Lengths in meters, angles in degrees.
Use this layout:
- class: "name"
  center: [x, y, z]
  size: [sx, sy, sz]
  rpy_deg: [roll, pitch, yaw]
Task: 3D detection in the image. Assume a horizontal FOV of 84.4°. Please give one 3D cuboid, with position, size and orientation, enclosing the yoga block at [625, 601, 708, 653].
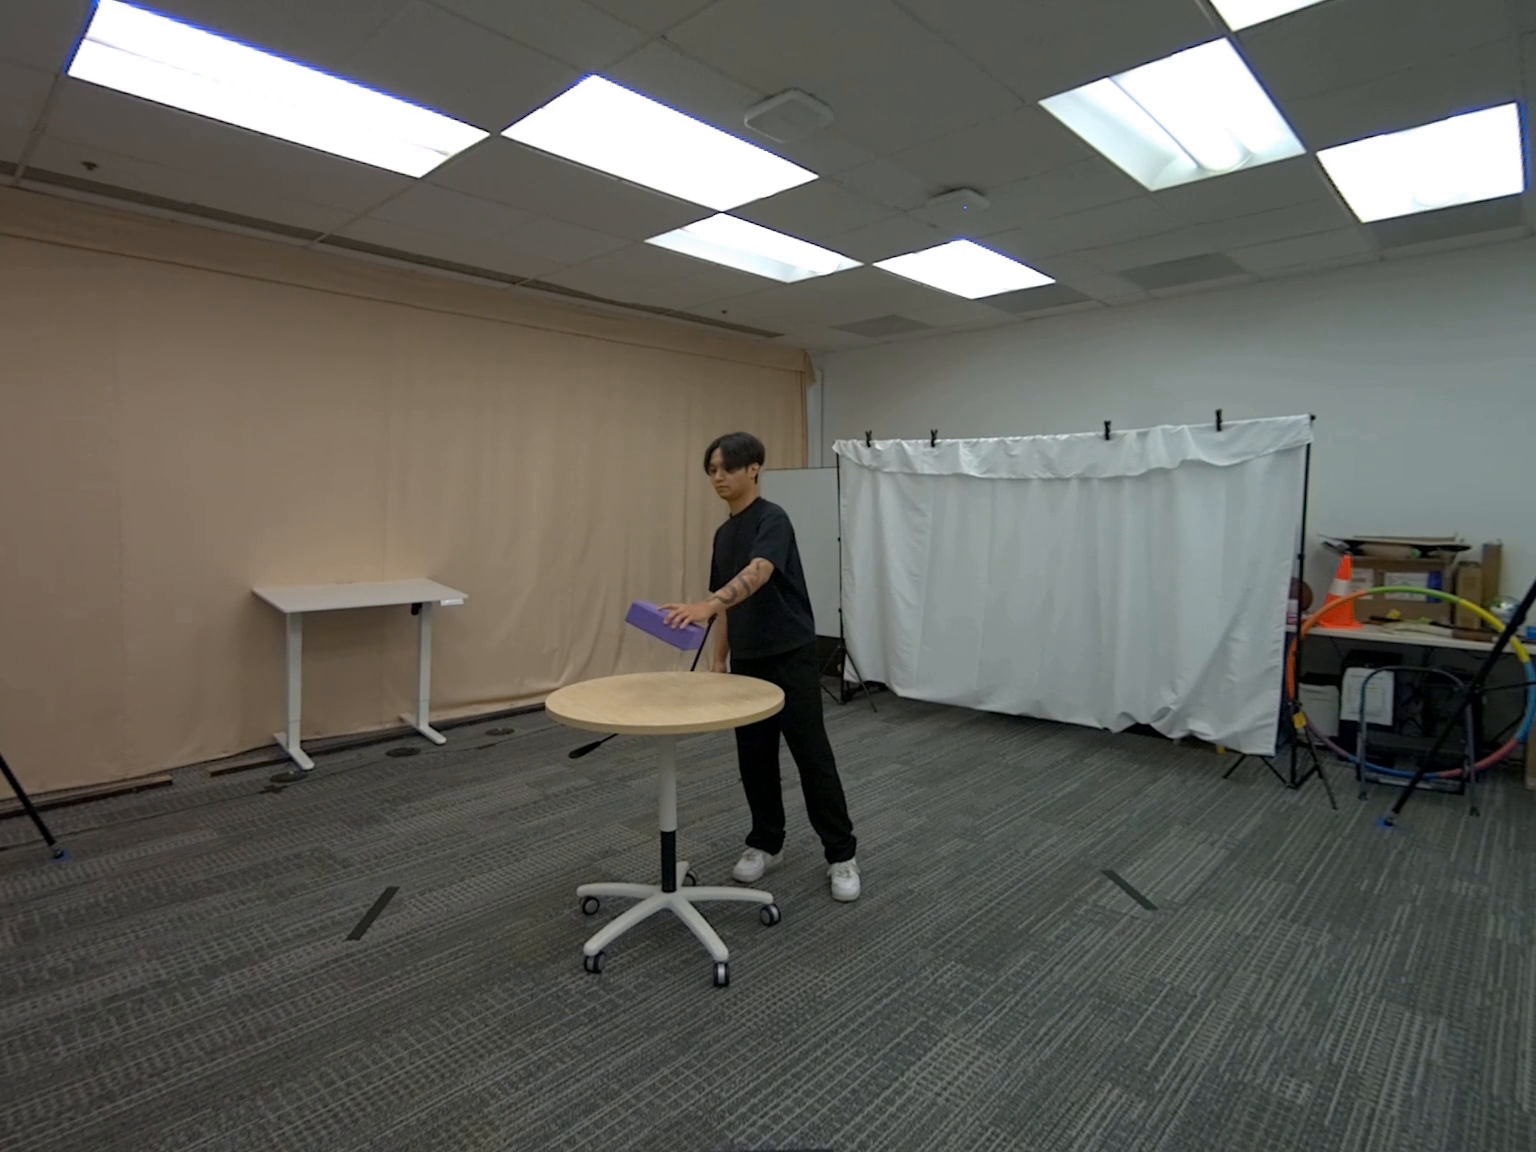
- class: "yoga block"
  center: [-0.324, 0.159, 2.699]
  size: [0.233, 0.076, 0.146]
  rpy_deg: [25, 2, 13]
